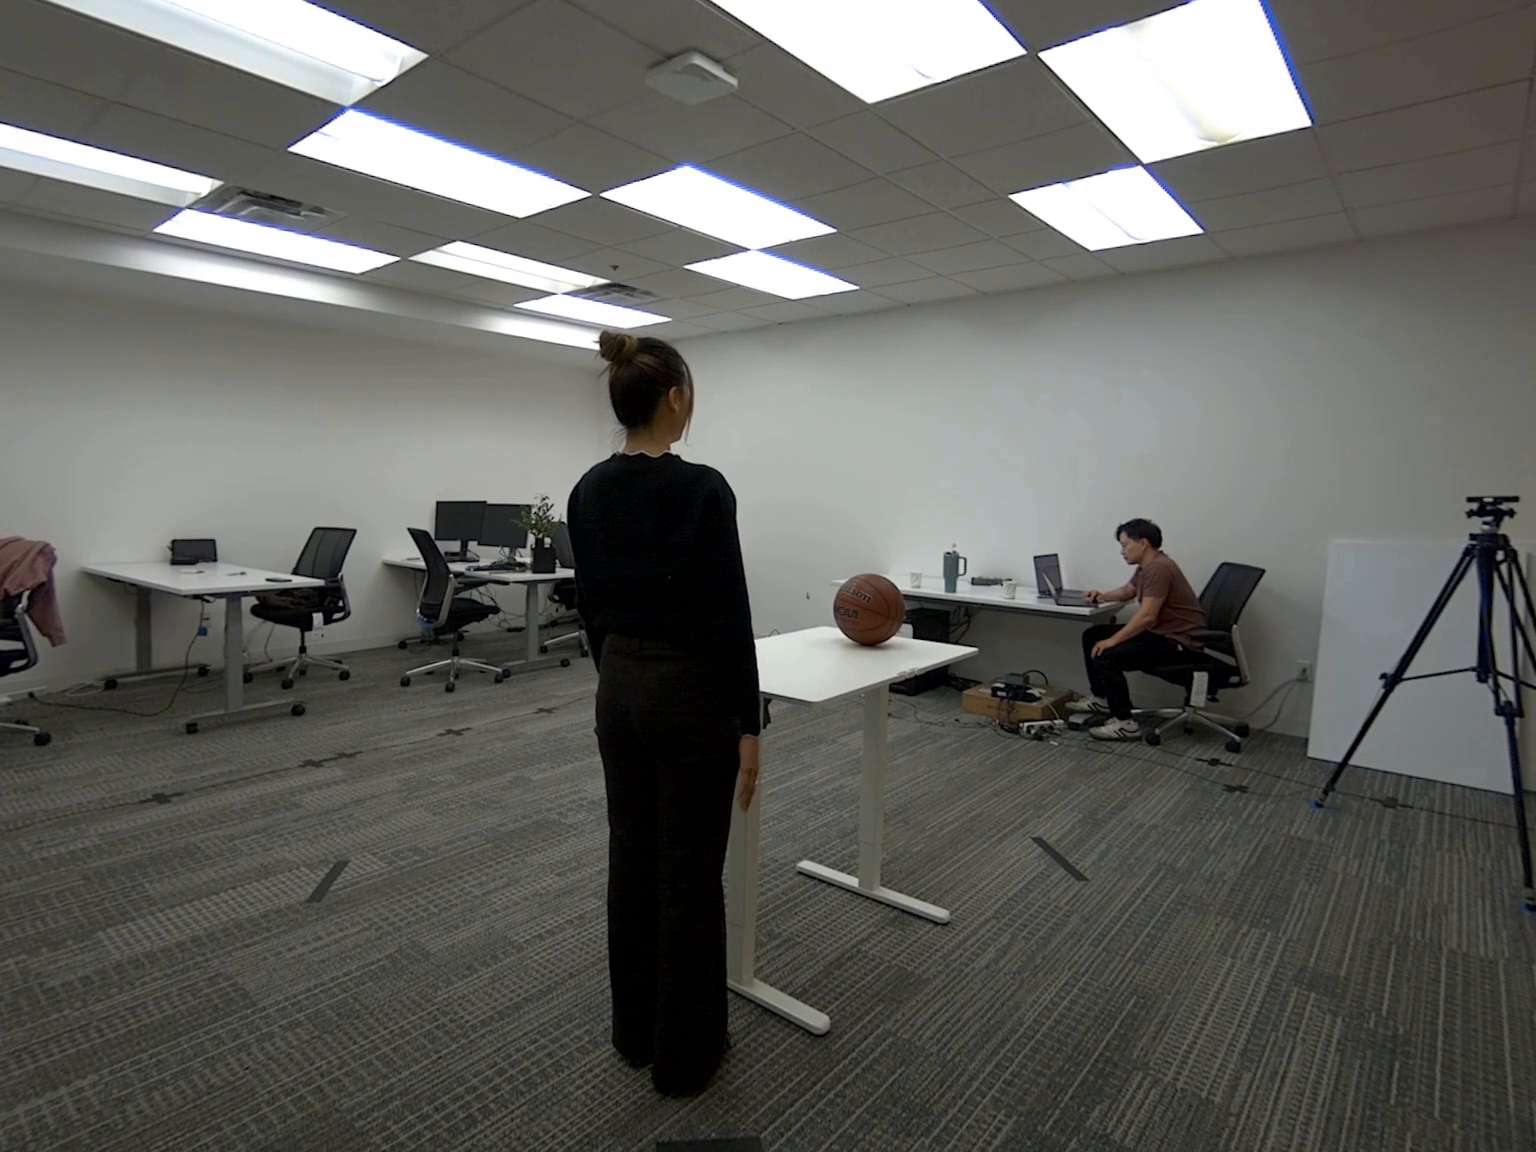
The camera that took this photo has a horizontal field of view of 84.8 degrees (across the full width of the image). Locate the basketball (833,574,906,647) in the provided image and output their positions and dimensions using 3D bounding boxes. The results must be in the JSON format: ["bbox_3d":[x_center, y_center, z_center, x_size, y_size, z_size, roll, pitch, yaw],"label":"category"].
[{"bbox_3d":[0.334,0.111,2.822,0.235,0.235,0.237,1,4,-2],"label":"basketball"}]
